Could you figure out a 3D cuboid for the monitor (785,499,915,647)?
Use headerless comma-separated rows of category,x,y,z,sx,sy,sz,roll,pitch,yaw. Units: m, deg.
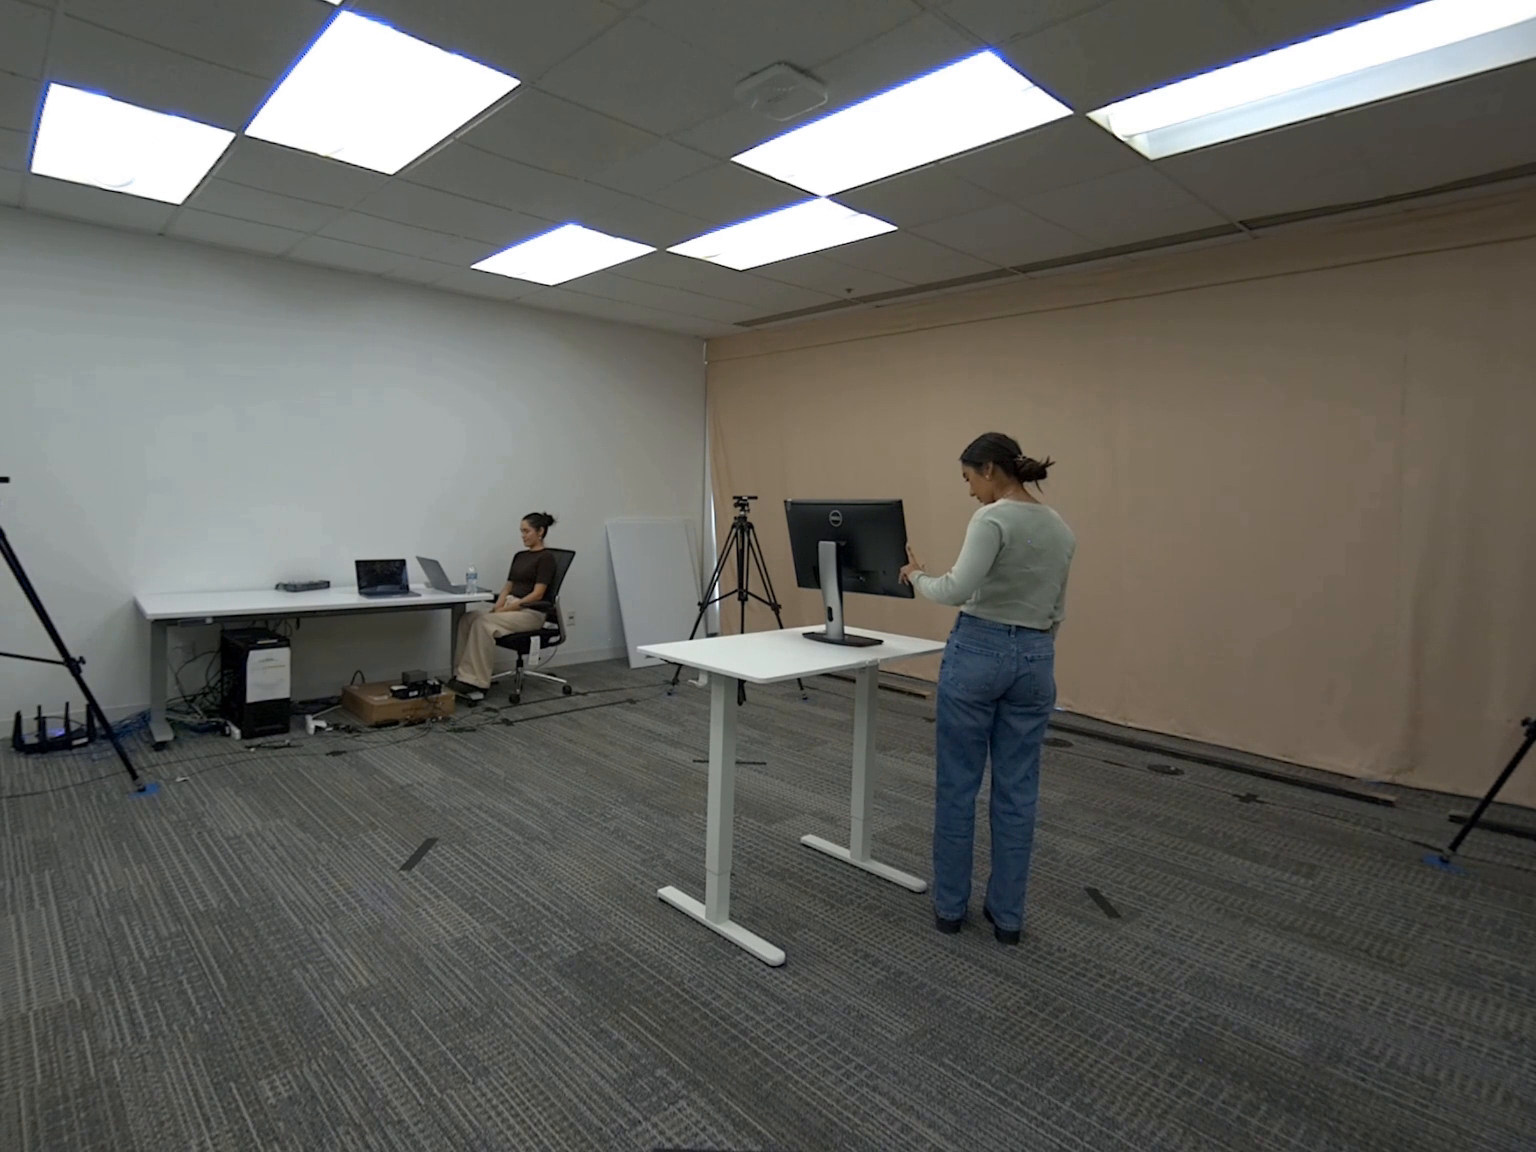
monitor,0.246,-0.012,3.037,0.183,0.520,0.553,-5,8,-43
